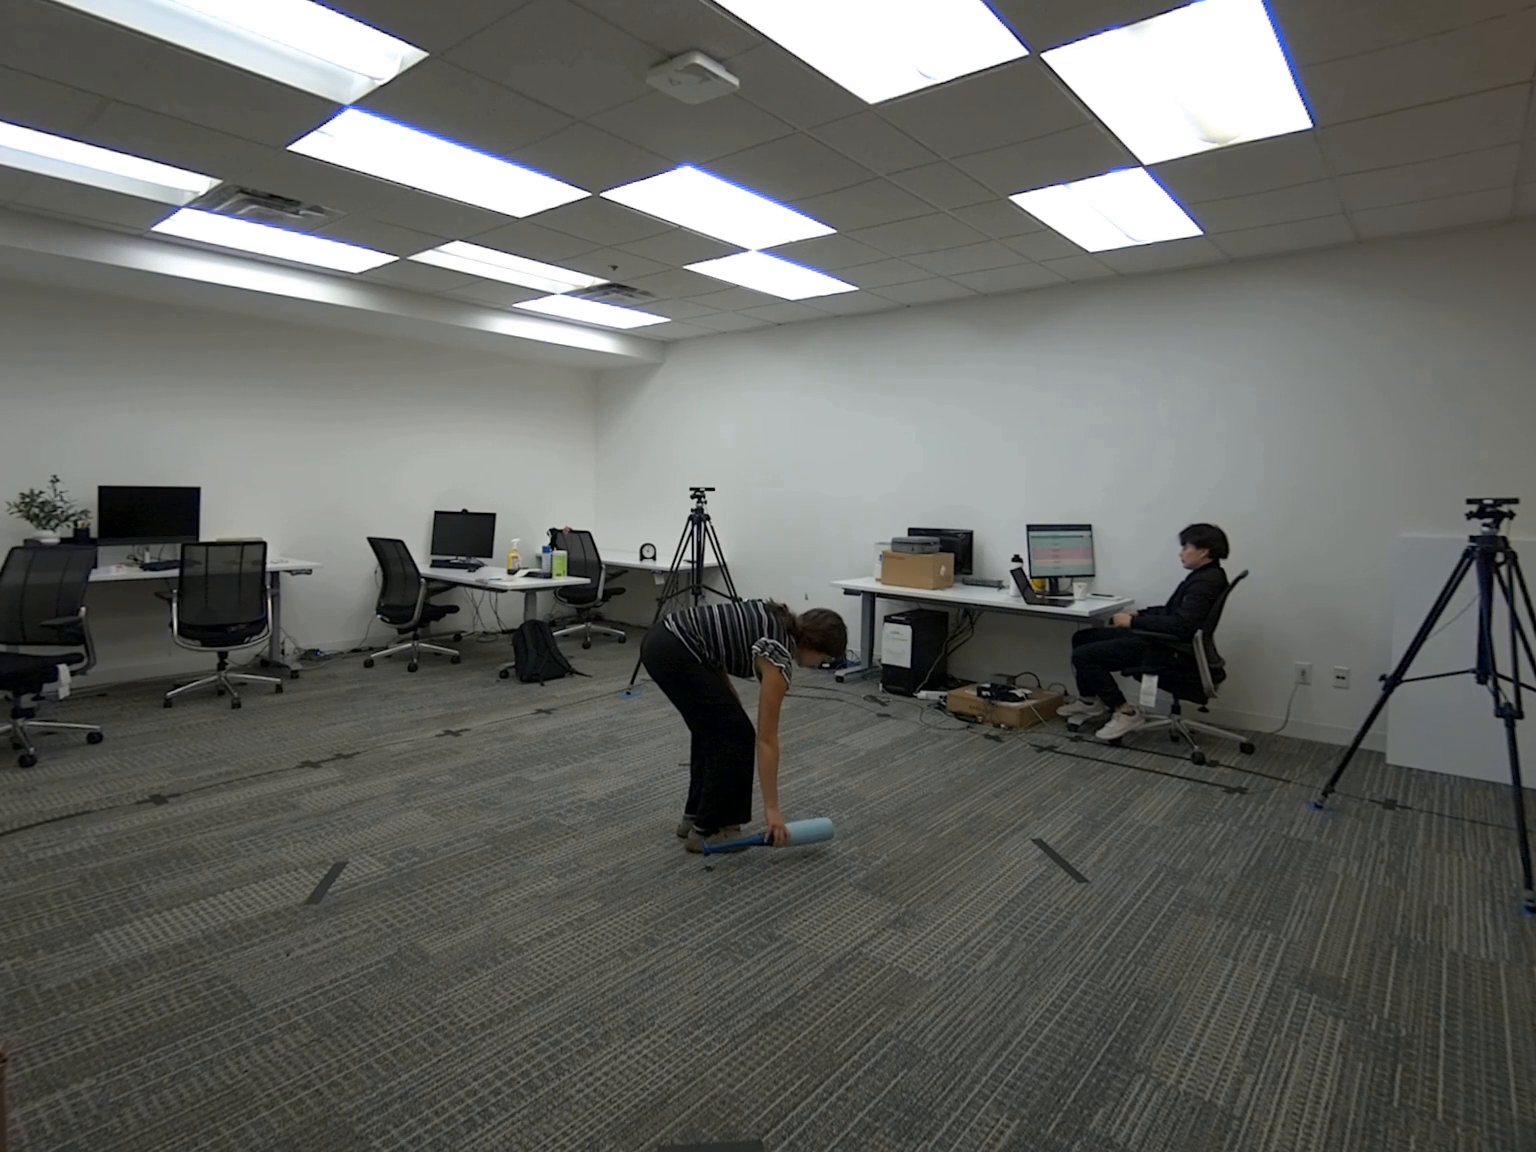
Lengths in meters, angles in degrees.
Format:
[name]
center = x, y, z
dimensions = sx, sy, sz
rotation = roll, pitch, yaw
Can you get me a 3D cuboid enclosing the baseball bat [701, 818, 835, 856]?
[baseball bat]
center = -0.007, 0.975, 3.181
dimensions = 0.531, 0.089, 0.091
rotation = -2, 5, -23
